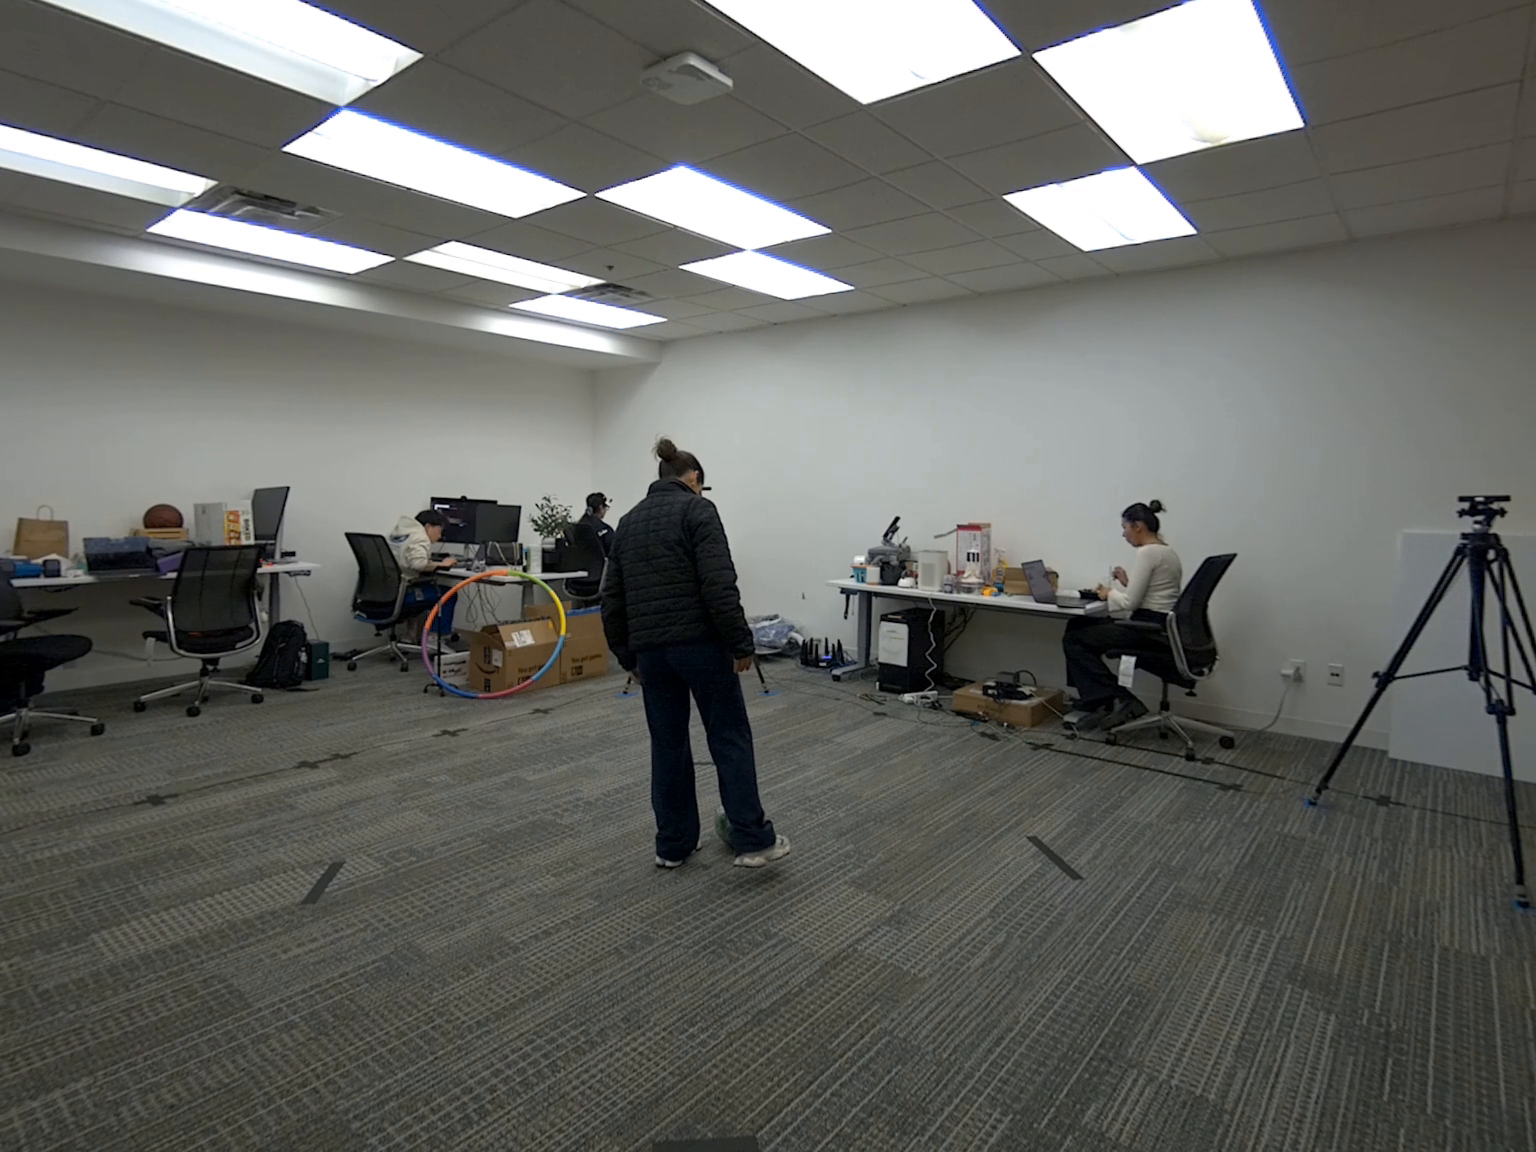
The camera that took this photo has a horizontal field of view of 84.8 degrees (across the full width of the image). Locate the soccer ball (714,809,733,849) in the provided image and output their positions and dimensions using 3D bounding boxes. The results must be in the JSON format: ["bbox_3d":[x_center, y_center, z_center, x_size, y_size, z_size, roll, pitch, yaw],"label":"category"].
[{"bbox_3d":[-0.118,0.947,3.296,0.187,0.187,0.188,1,4,-2],"label":"soccer ball"}]
